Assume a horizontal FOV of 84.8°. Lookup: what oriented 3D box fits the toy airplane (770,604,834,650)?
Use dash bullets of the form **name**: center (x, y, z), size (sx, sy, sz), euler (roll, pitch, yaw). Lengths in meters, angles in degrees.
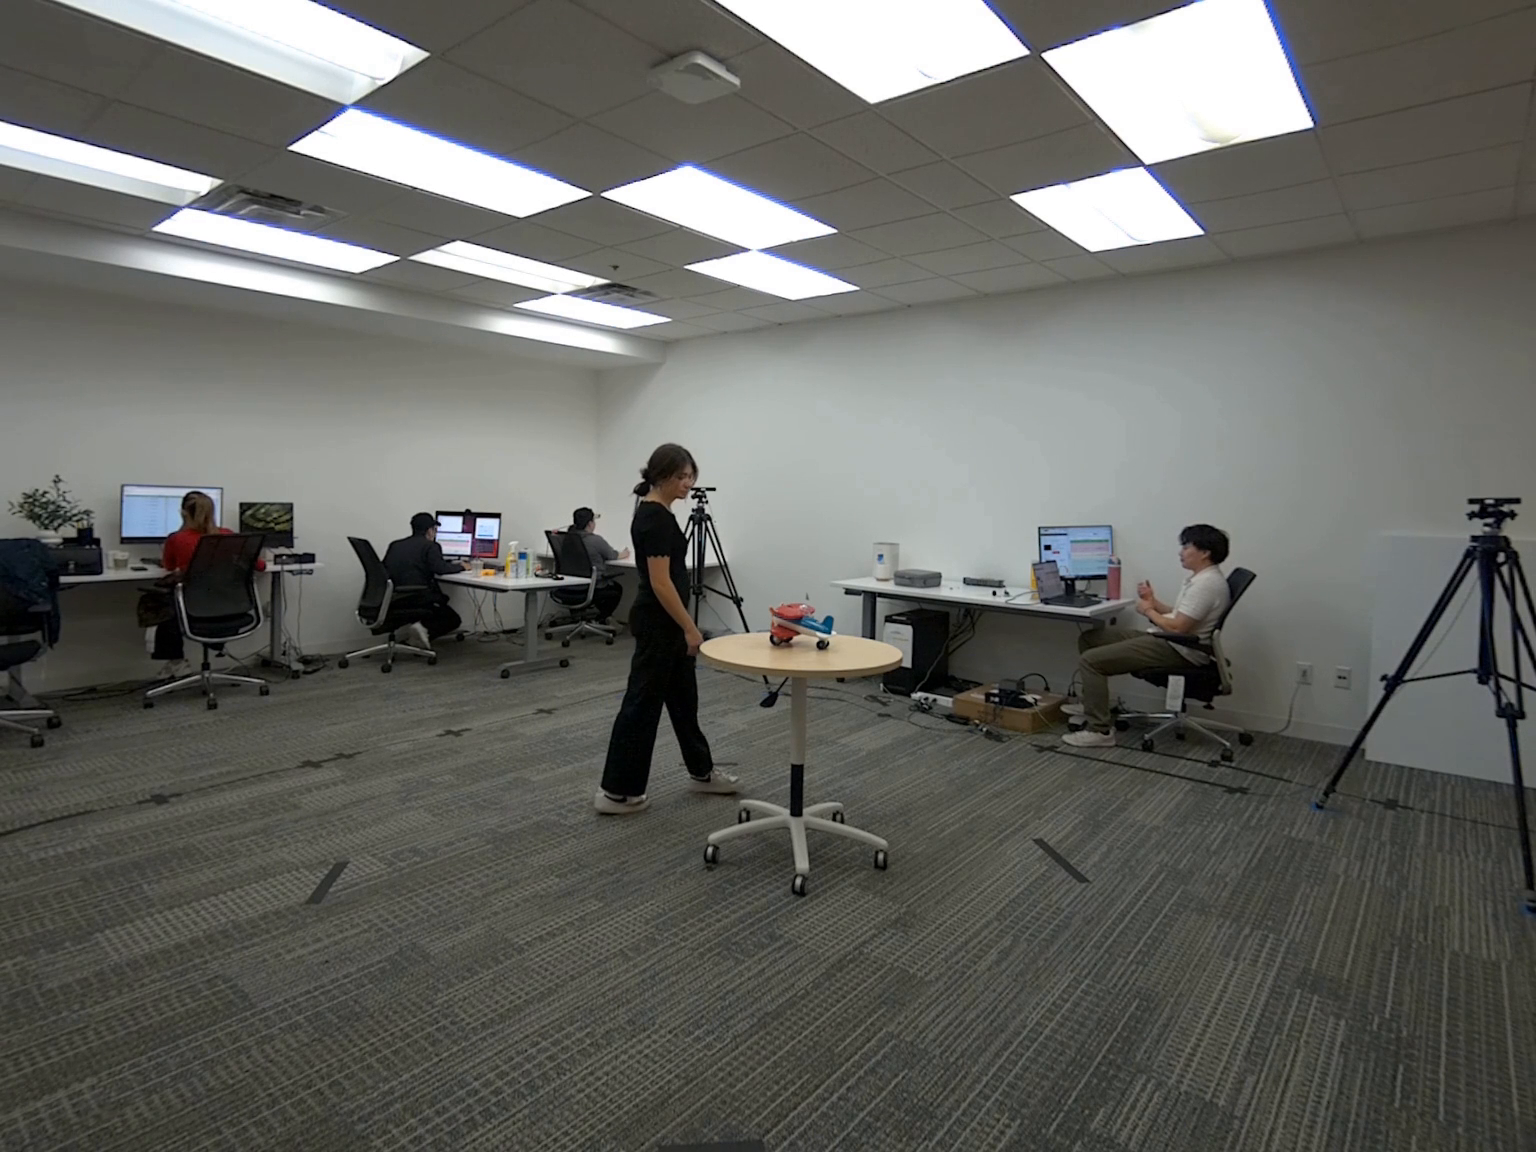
- **toy airplane**: center (0.121, 0.189, 3.318), size (0.260, 0.156, 0.252), euler (0, 6, 0)
